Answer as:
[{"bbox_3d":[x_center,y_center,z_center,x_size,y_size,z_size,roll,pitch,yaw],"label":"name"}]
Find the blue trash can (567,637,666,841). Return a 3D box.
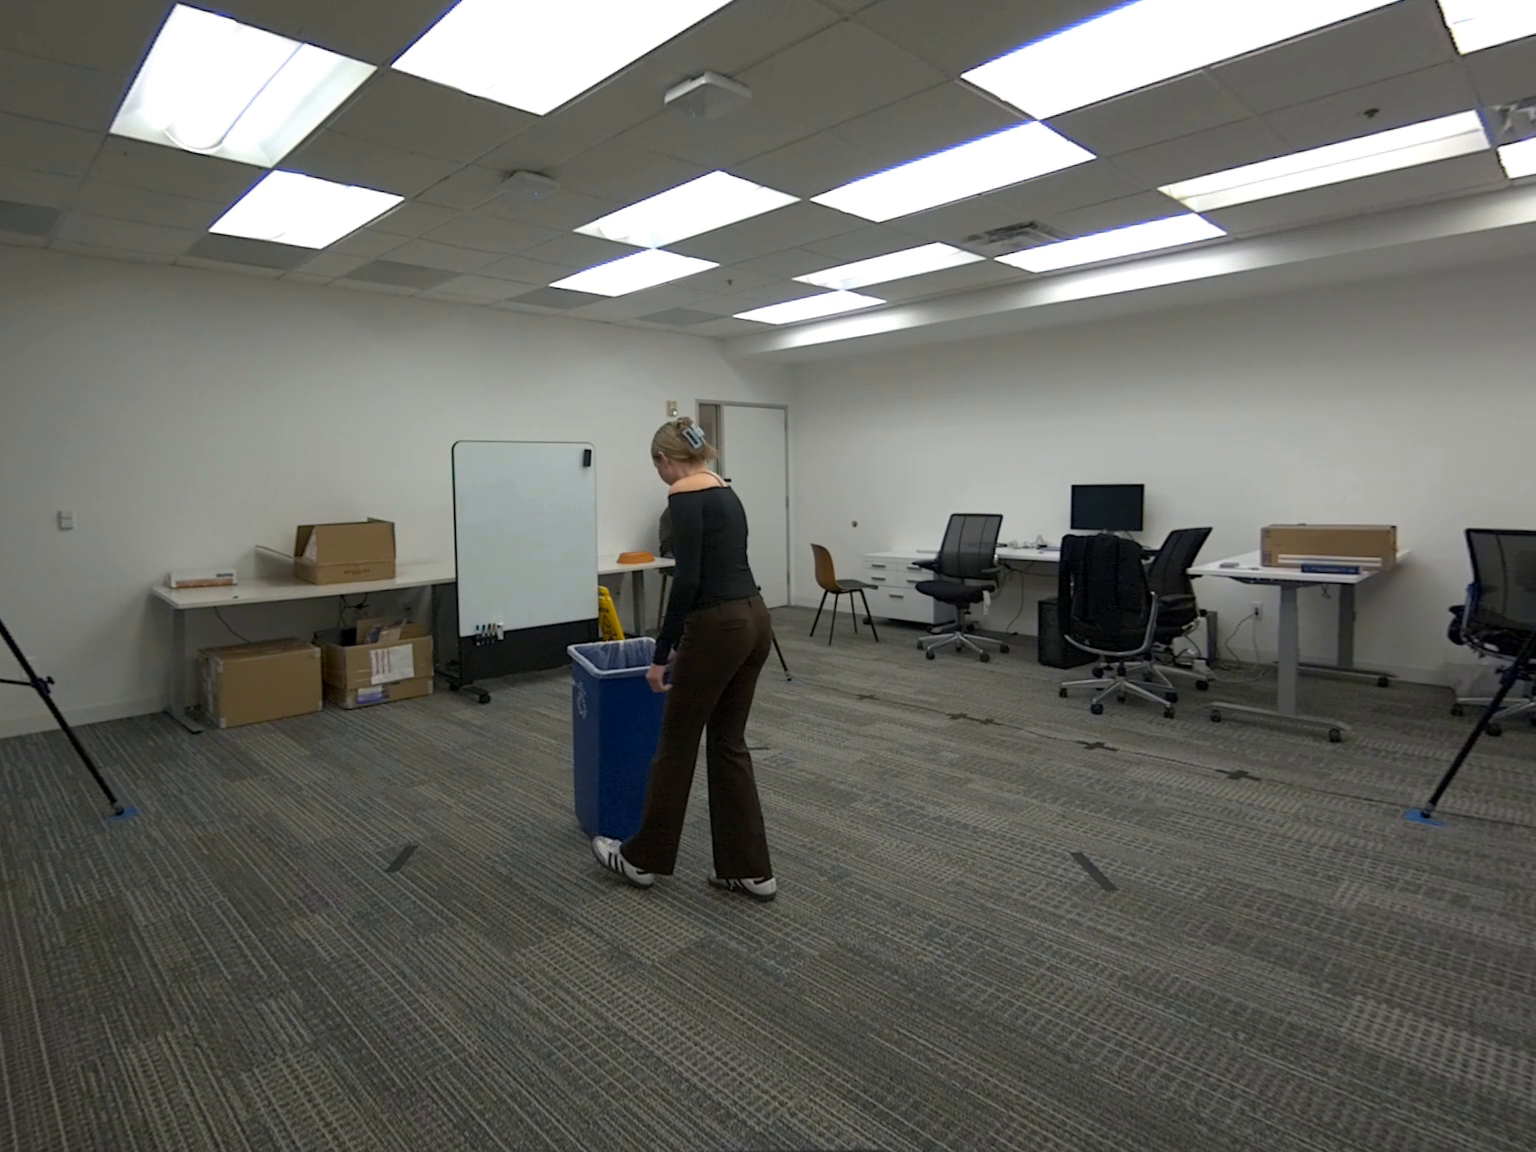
[{"bbox_3d":[-0.557,0.648,3.379,0.369,0.708,0.386,-3,11,-30],"label":"blue trash can"}]
